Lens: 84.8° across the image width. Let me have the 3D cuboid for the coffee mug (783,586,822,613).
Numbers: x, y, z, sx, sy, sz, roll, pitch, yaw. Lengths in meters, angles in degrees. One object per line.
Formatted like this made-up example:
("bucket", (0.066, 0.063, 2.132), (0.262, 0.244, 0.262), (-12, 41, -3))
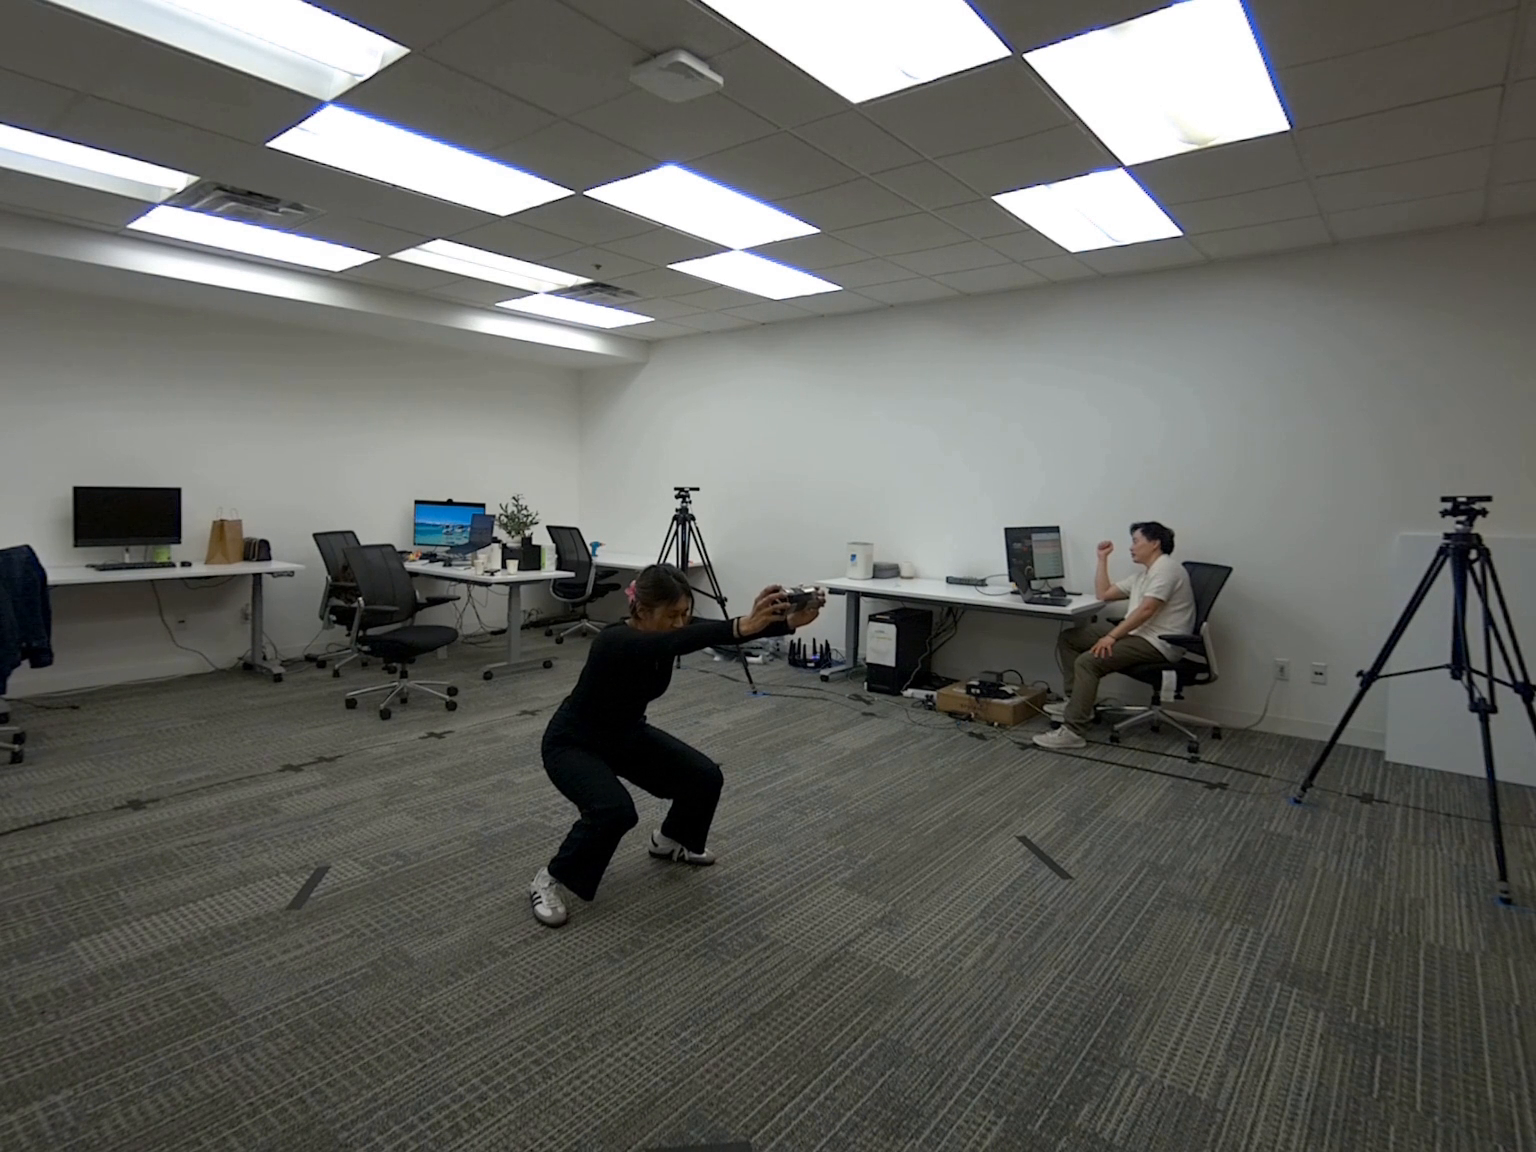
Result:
("coffee mug", (0.063, 0.076, 2.422), (0.197, 0.087, 0.126), (-2, 11, -39))
